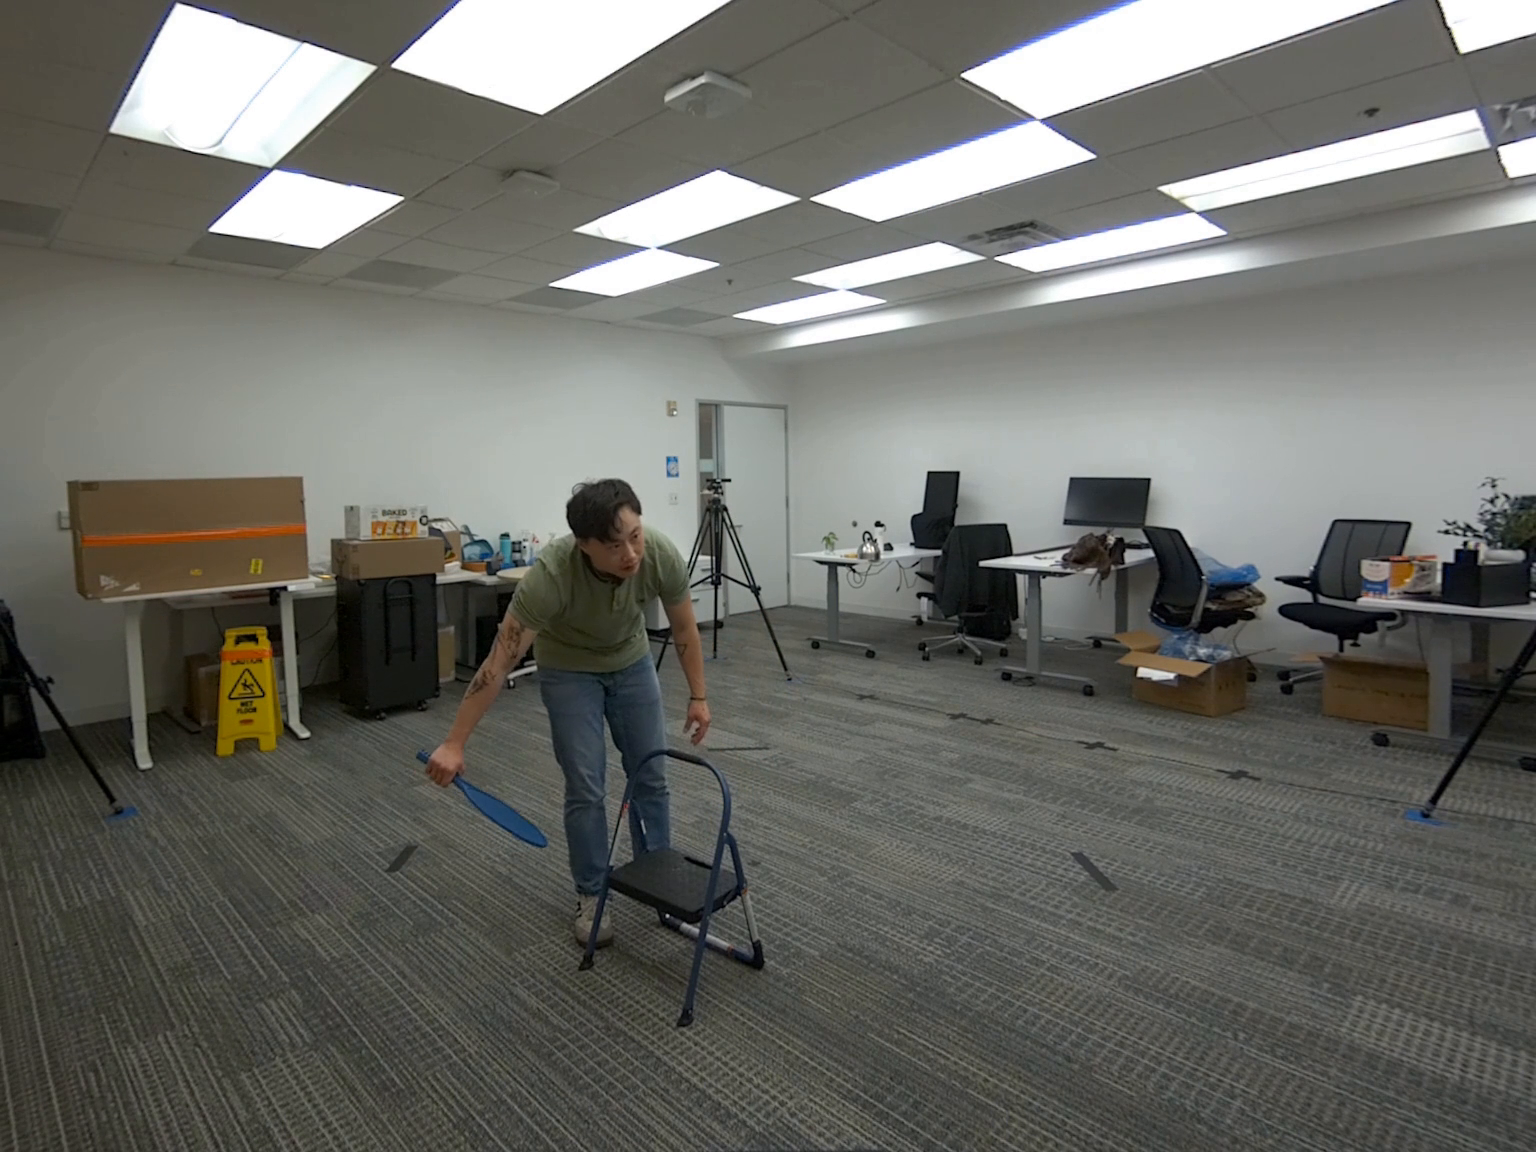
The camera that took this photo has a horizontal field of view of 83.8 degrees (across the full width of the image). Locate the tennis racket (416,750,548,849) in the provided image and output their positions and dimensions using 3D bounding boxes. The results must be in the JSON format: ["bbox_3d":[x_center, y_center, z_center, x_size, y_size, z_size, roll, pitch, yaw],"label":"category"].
[{"bbox_3d":[-0.766,0.605,2.302,0.440,0.032,0.209,31,-8,13],"label":"tennis racket"}]
